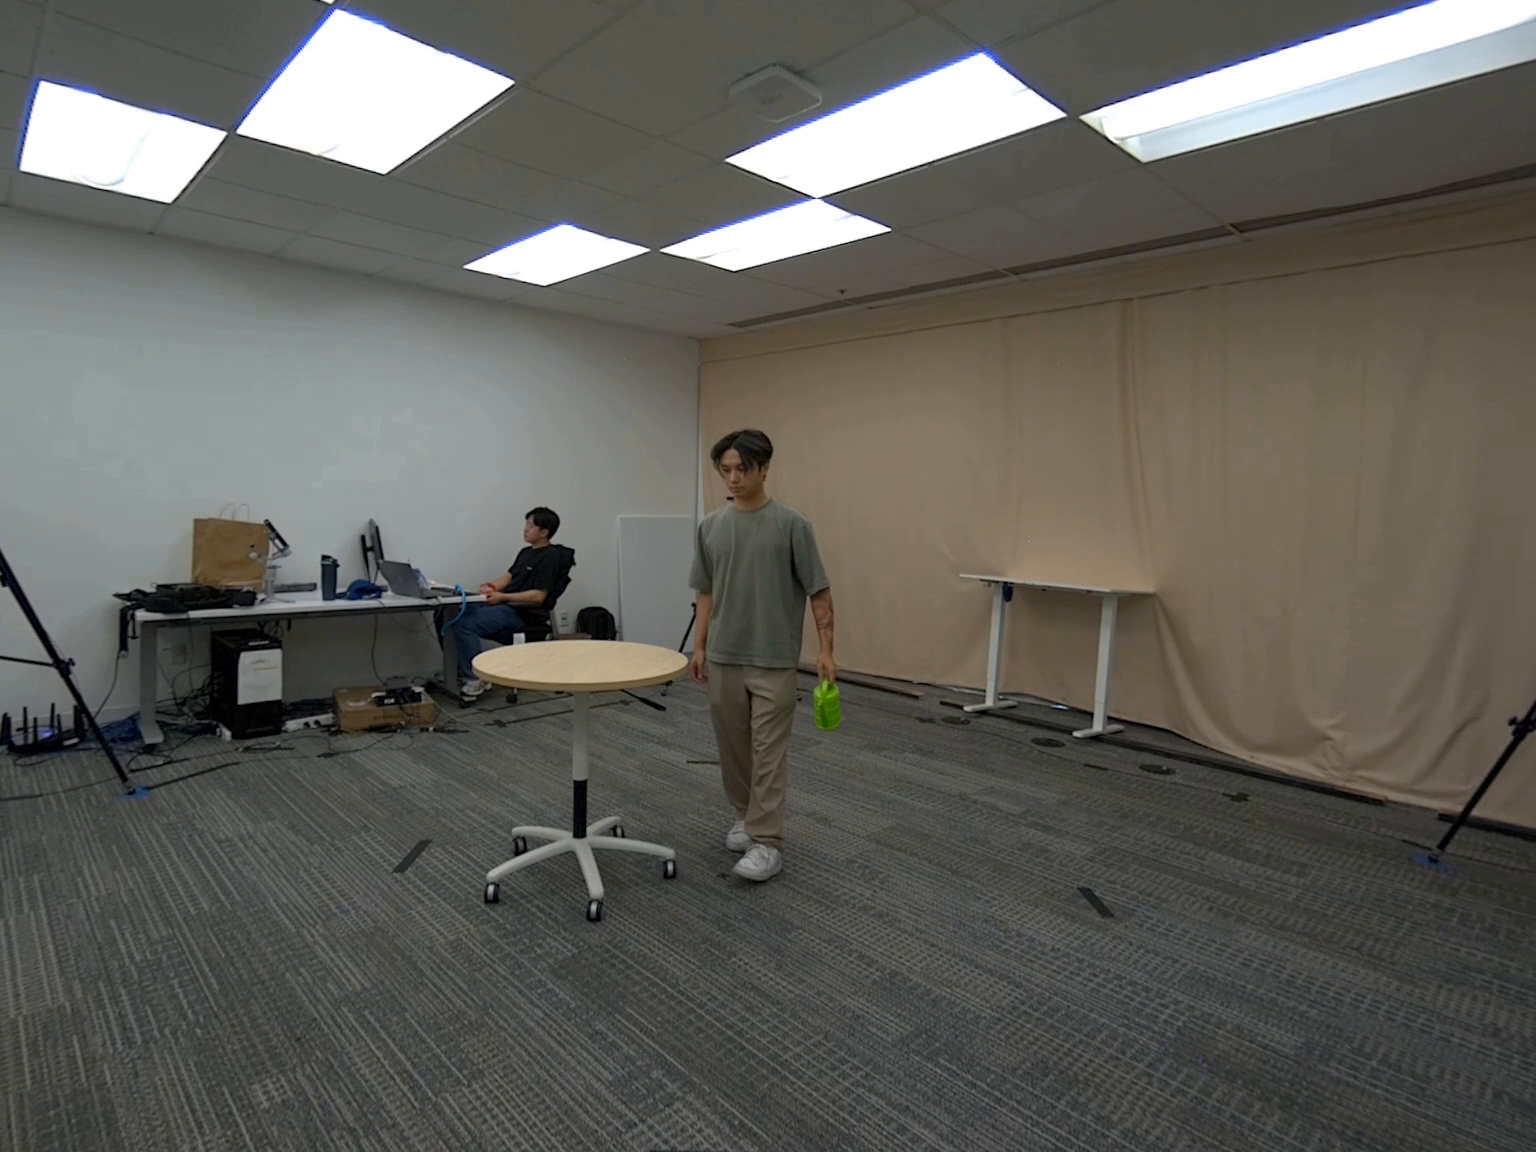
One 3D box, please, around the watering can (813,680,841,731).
[{"bbox_3d":[0.189,0.483,3.079,0.100,0.174,0.277,4,19,23],"label":"watering can"}]
